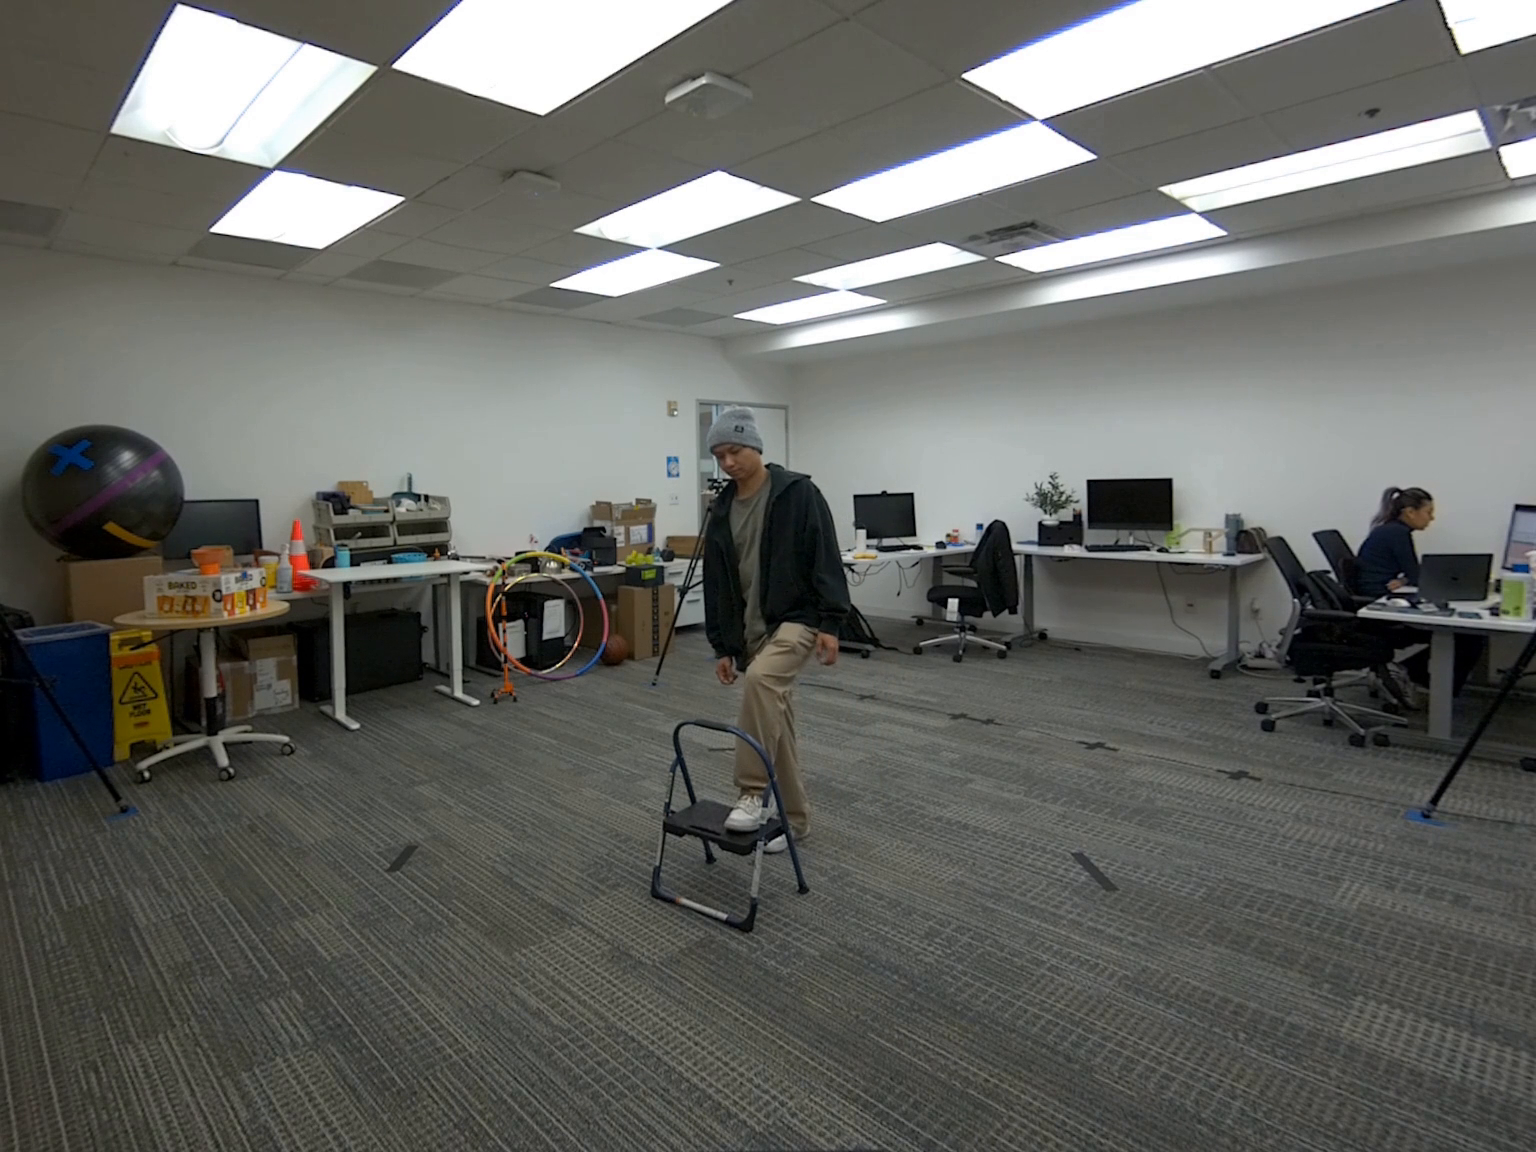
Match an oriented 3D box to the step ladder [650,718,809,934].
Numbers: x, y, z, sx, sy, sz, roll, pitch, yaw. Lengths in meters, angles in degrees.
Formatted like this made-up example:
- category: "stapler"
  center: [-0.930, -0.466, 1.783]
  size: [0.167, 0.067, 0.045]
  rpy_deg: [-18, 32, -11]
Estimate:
- category: "step ladder"
  center: [-0.137, 0.771, 2.865]
  size: [0.443, 0.603, 0.341]
  rpy_deg: [2, 6, 35]
